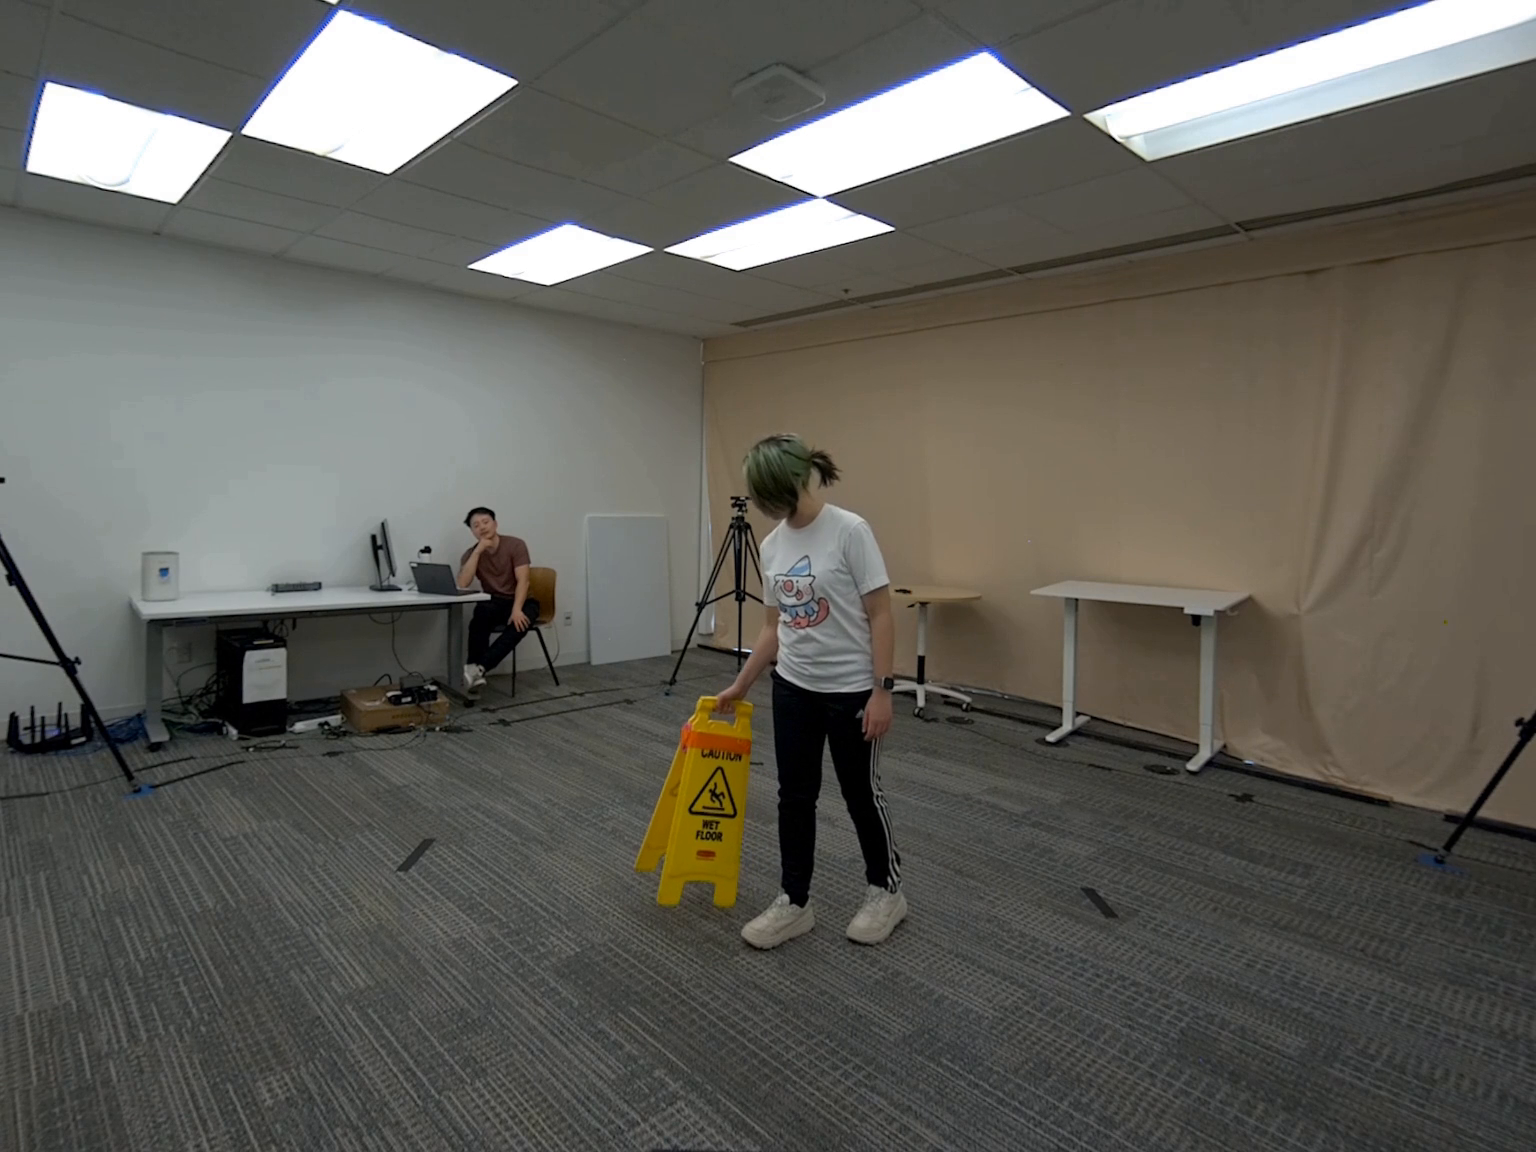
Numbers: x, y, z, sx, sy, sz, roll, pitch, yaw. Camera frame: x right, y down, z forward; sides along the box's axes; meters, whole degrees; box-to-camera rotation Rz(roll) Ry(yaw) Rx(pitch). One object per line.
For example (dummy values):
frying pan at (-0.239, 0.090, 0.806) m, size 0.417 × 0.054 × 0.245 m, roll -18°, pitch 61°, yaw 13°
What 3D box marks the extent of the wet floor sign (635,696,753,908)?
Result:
wet floor sign at (-0.212, 0.728, 2.812) m, size 0.276 × 0.646 × 0.296 m, roll 13°, pitch 0°, yaw -26°
